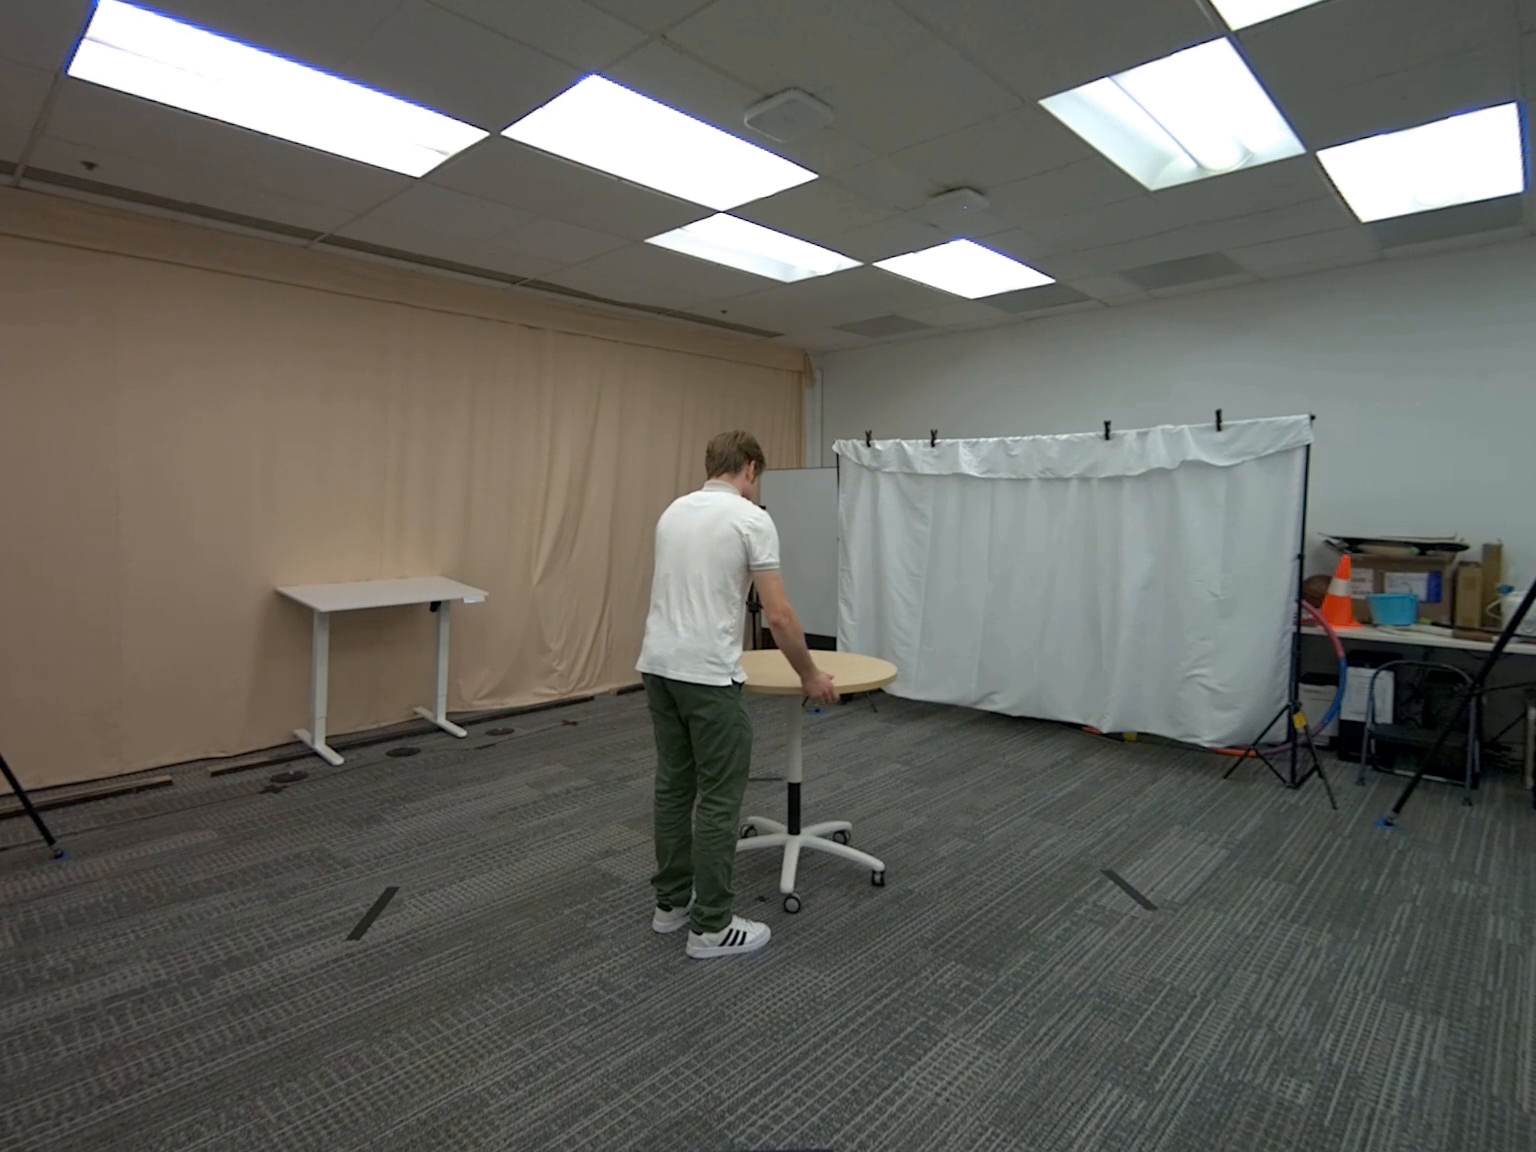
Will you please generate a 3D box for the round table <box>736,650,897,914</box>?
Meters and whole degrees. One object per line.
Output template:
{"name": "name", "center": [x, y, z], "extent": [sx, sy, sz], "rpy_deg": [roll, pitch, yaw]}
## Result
{"name": "round table", "center": [0.108, 0.735, 3.200], "extent": [0.763, 0.792, 0.766], "rpy_deg": [0, 3, -2]}
